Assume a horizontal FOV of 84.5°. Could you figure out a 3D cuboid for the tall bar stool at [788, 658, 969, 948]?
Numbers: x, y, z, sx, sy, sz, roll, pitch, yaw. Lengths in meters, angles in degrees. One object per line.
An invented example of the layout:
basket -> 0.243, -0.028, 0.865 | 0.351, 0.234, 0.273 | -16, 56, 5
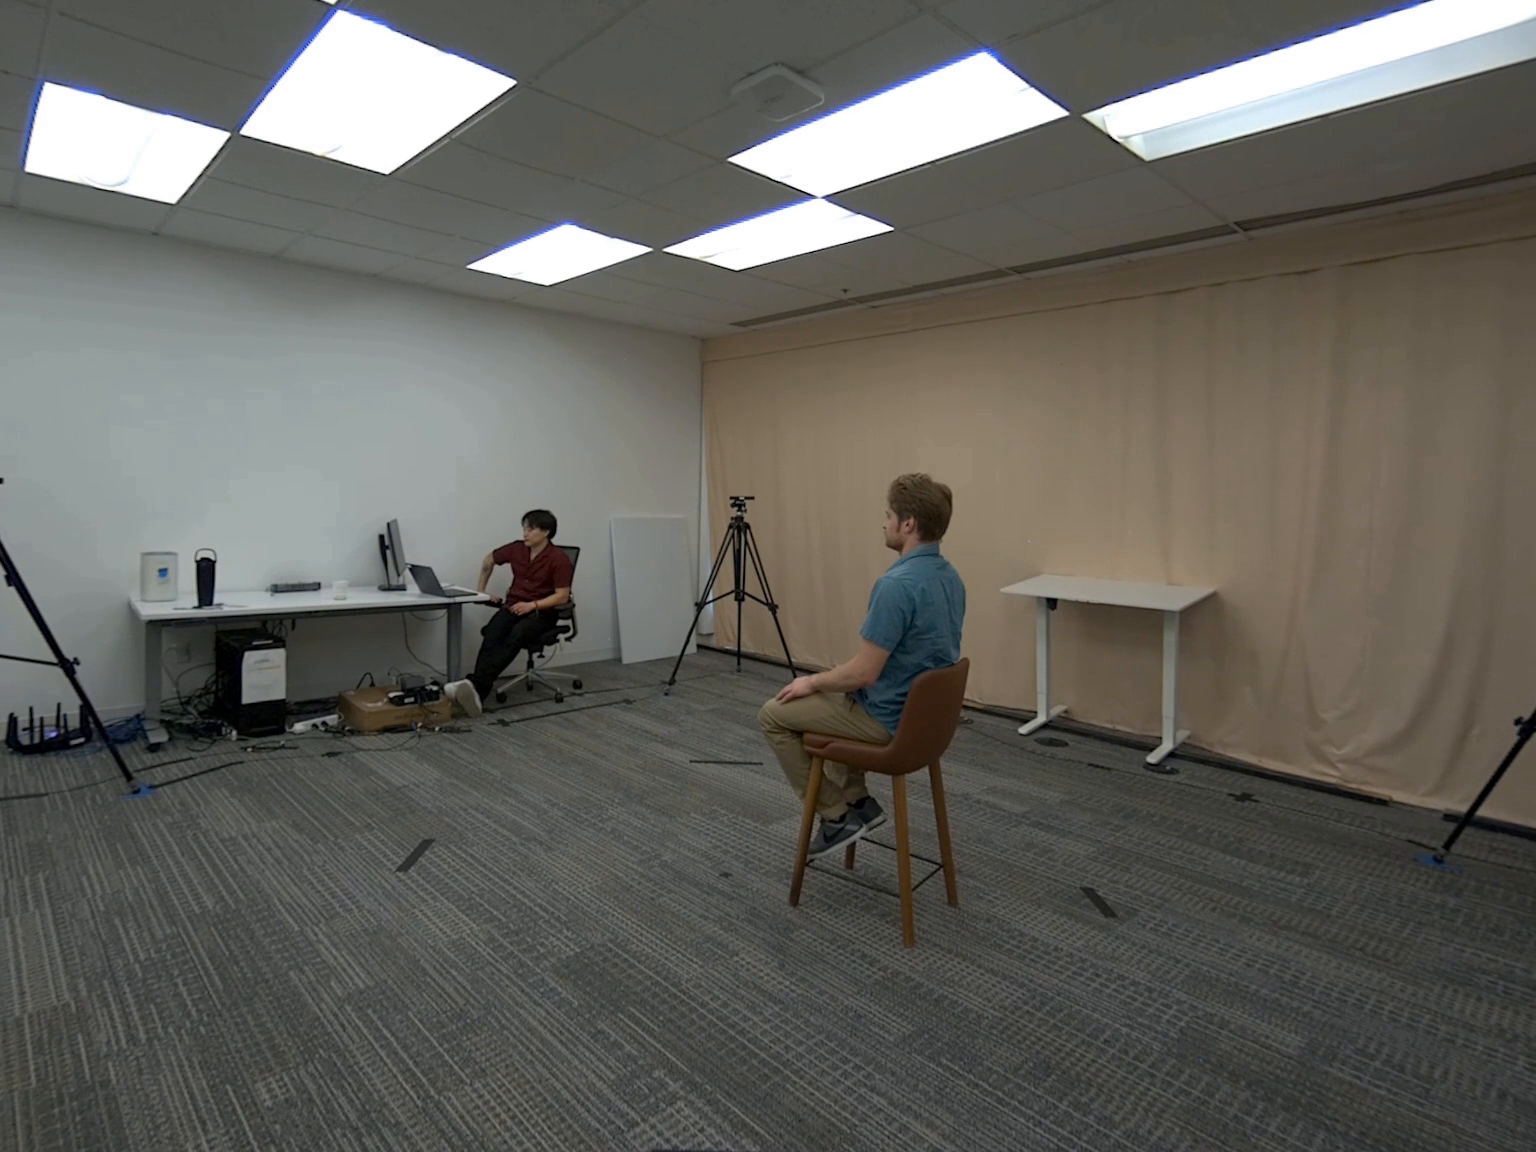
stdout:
tall bar stool -> 0.385, 0.701, 2.872 | 0.479, 0.886, 0.447 | 7, 7, 37
